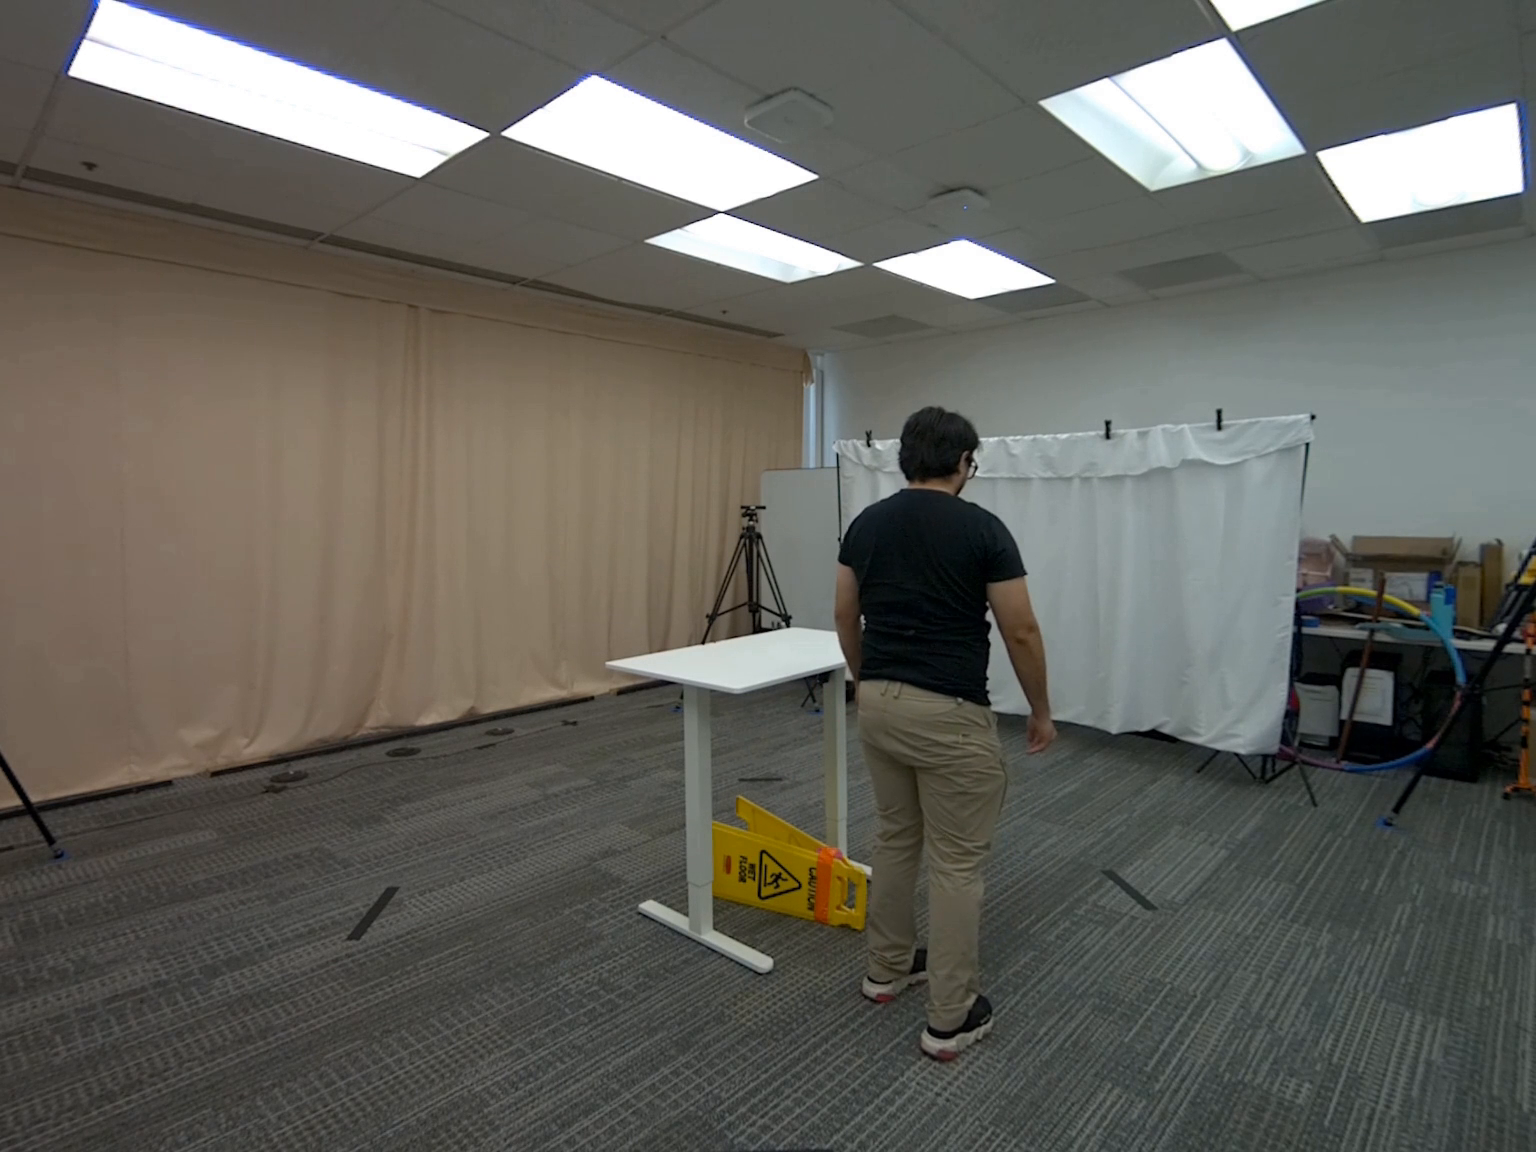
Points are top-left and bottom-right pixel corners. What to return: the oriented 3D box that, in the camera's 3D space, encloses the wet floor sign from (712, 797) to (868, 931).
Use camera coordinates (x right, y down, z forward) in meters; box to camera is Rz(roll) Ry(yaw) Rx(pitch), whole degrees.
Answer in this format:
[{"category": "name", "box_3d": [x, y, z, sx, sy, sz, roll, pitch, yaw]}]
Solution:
[{"category": "wet floor sign", "box_3d": [0.063, 1.024, 2.944, 0.668, 0.281, 0.281, 7, 7, 38]}]
